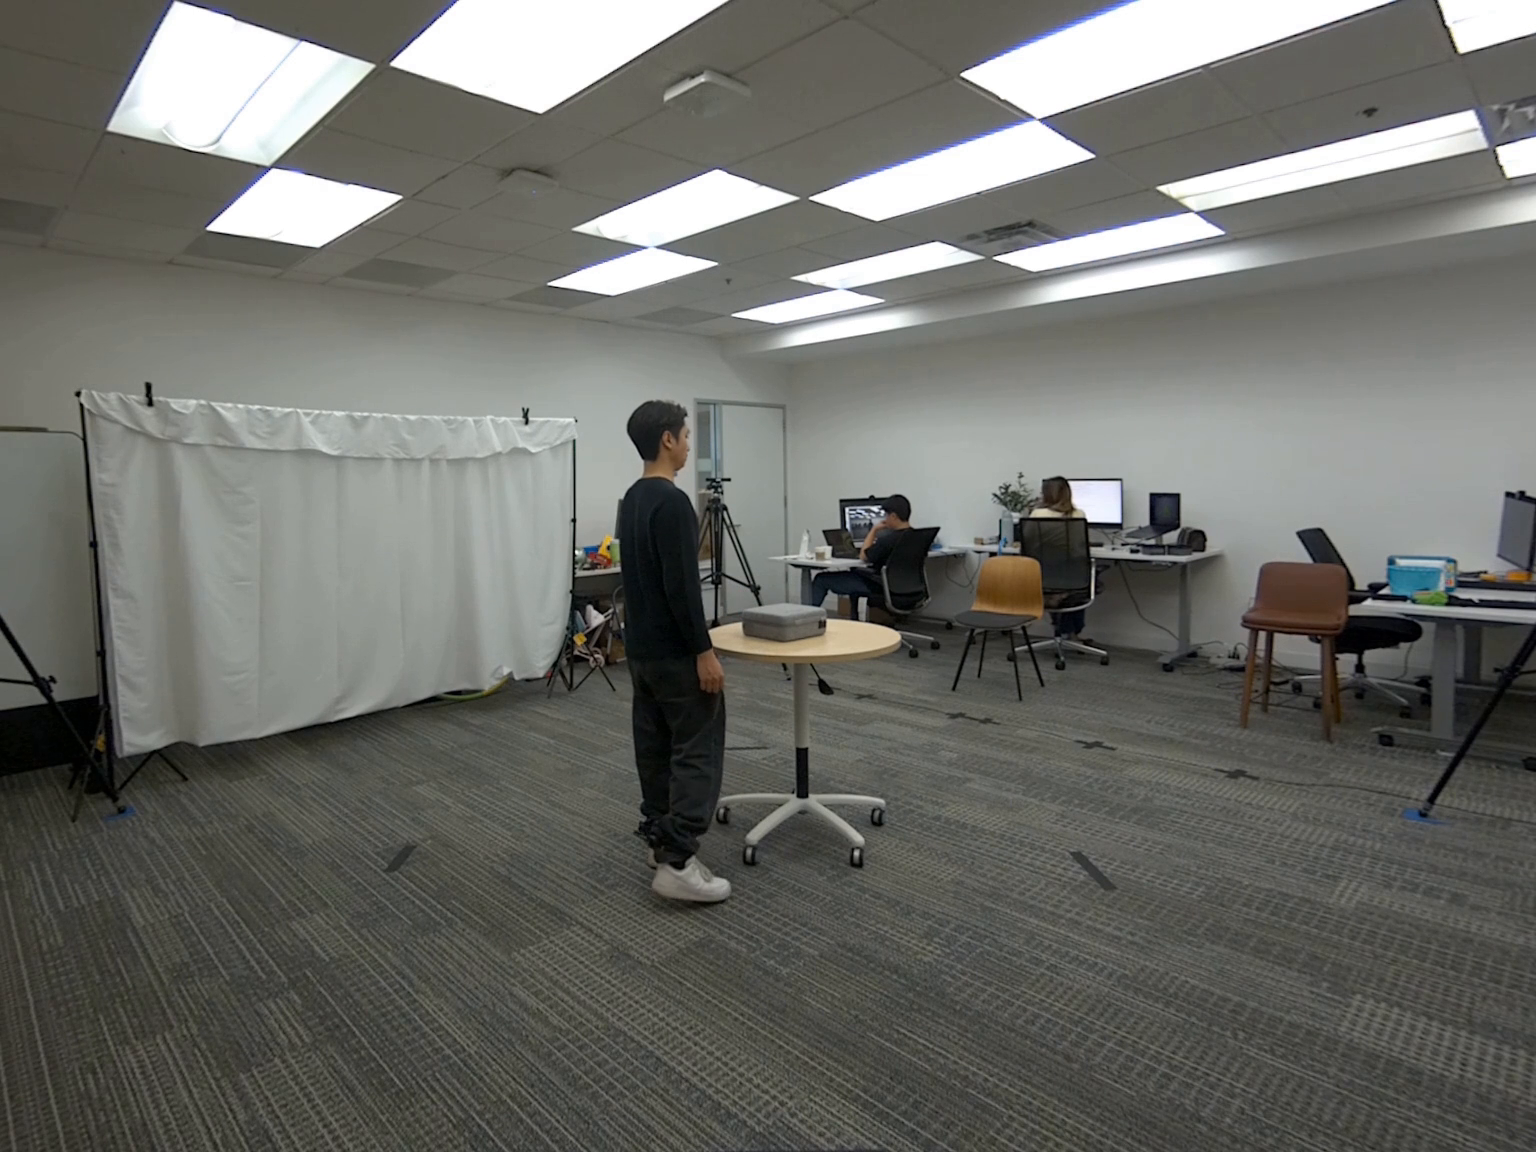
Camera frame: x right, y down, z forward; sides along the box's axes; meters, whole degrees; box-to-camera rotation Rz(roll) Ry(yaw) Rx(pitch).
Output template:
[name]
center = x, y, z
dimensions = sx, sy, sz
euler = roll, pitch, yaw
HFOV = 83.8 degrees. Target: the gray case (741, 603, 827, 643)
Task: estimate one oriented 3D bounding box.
[gray case]
center = 0.056, 0.176, 3.336
dimensions = 0.250, 0.104, 0.268
euler = -7, 8, -41
